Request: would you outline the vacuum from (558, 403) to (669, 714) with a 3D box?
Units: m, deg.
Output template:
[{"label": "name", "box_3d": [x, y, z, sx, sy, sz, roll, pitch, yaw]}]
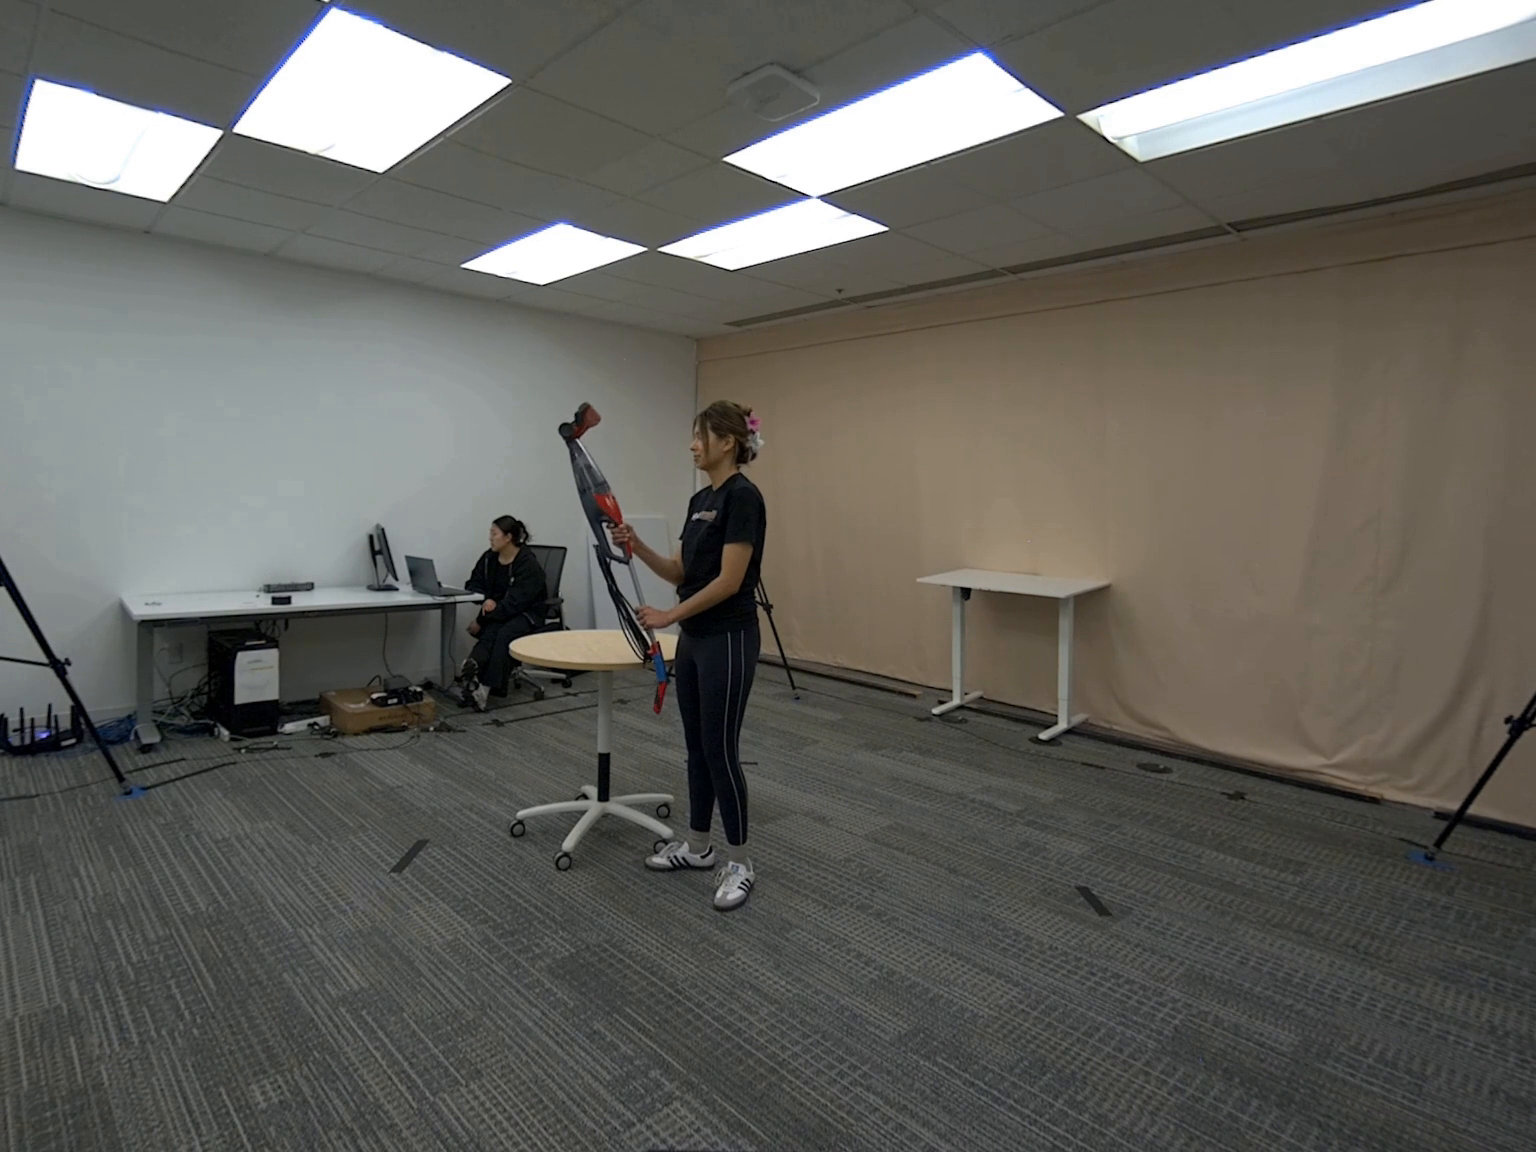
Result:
[{"label": "vacuum", "box_3d": [-0.533, -0.037, 2.910, 0.144, 1.053, 0.251, -15, -4, 2]}]
